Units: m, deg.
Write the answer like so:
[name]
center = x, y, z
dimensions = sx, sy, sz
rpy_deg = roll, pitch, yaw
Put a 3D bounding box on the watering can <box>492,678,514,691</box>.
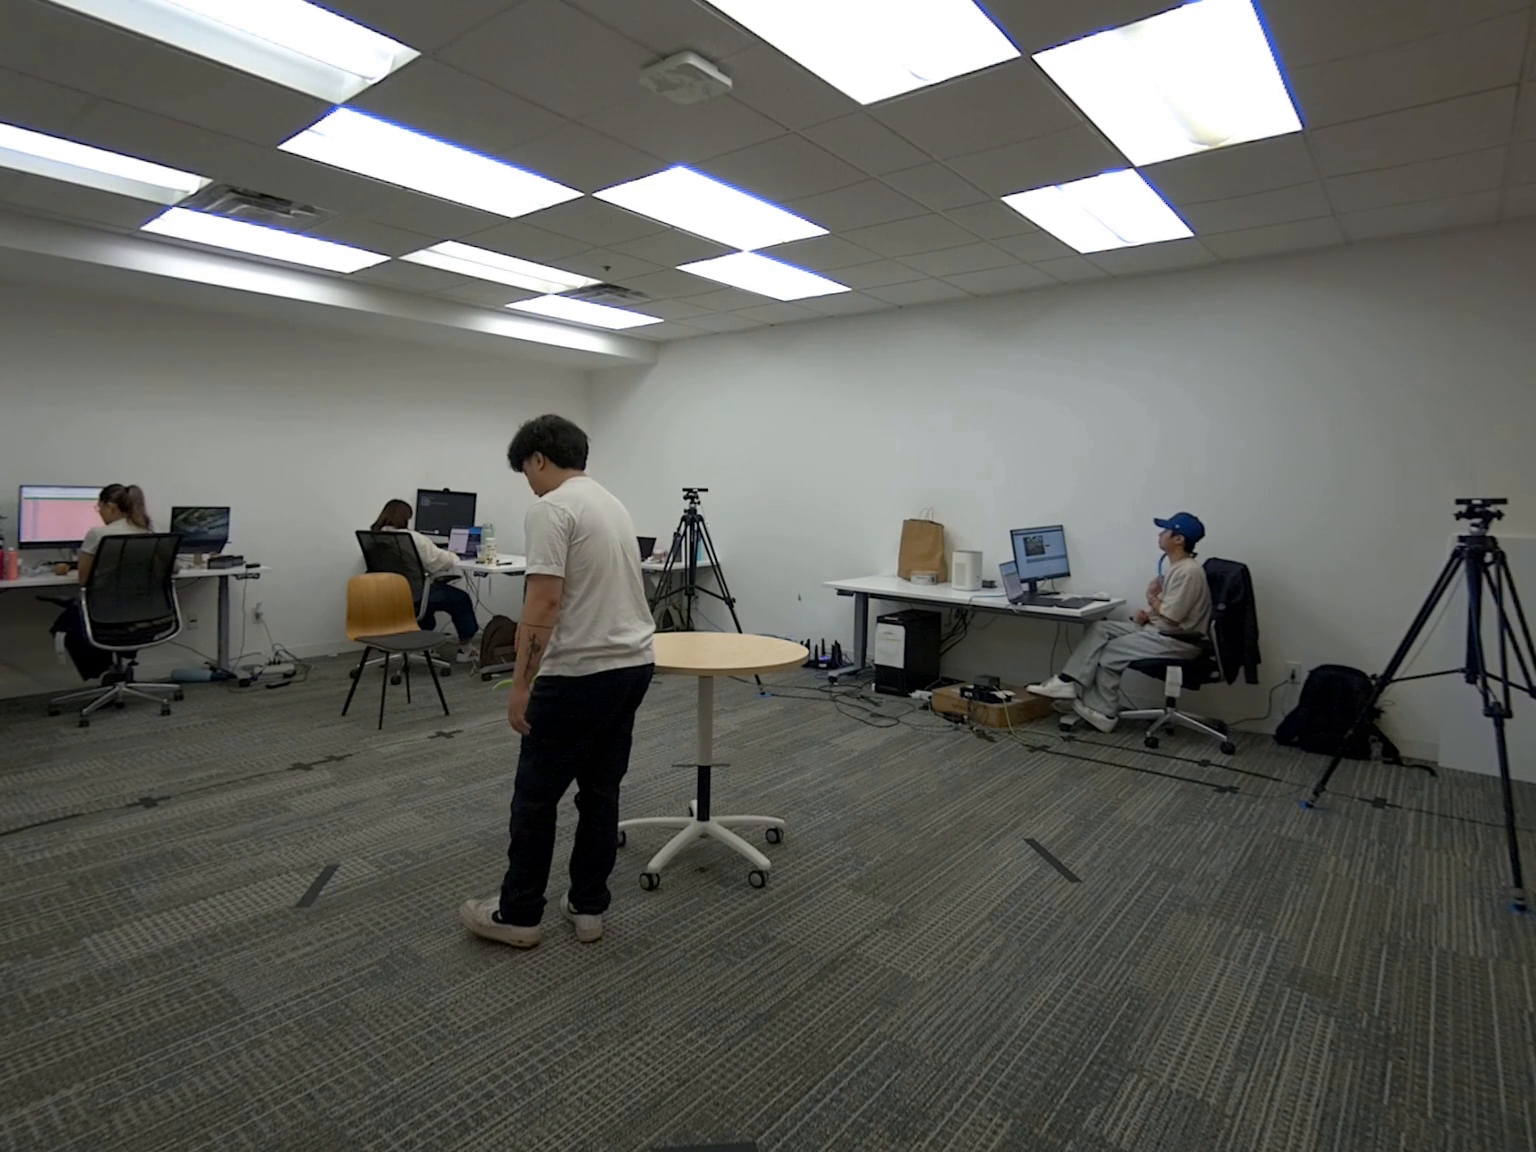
[watering can]
center = -0.778, 0.301, 2.879
dimensions = 0.177, 0.278, 0.098
rpy_deg = 32, 2, -1
